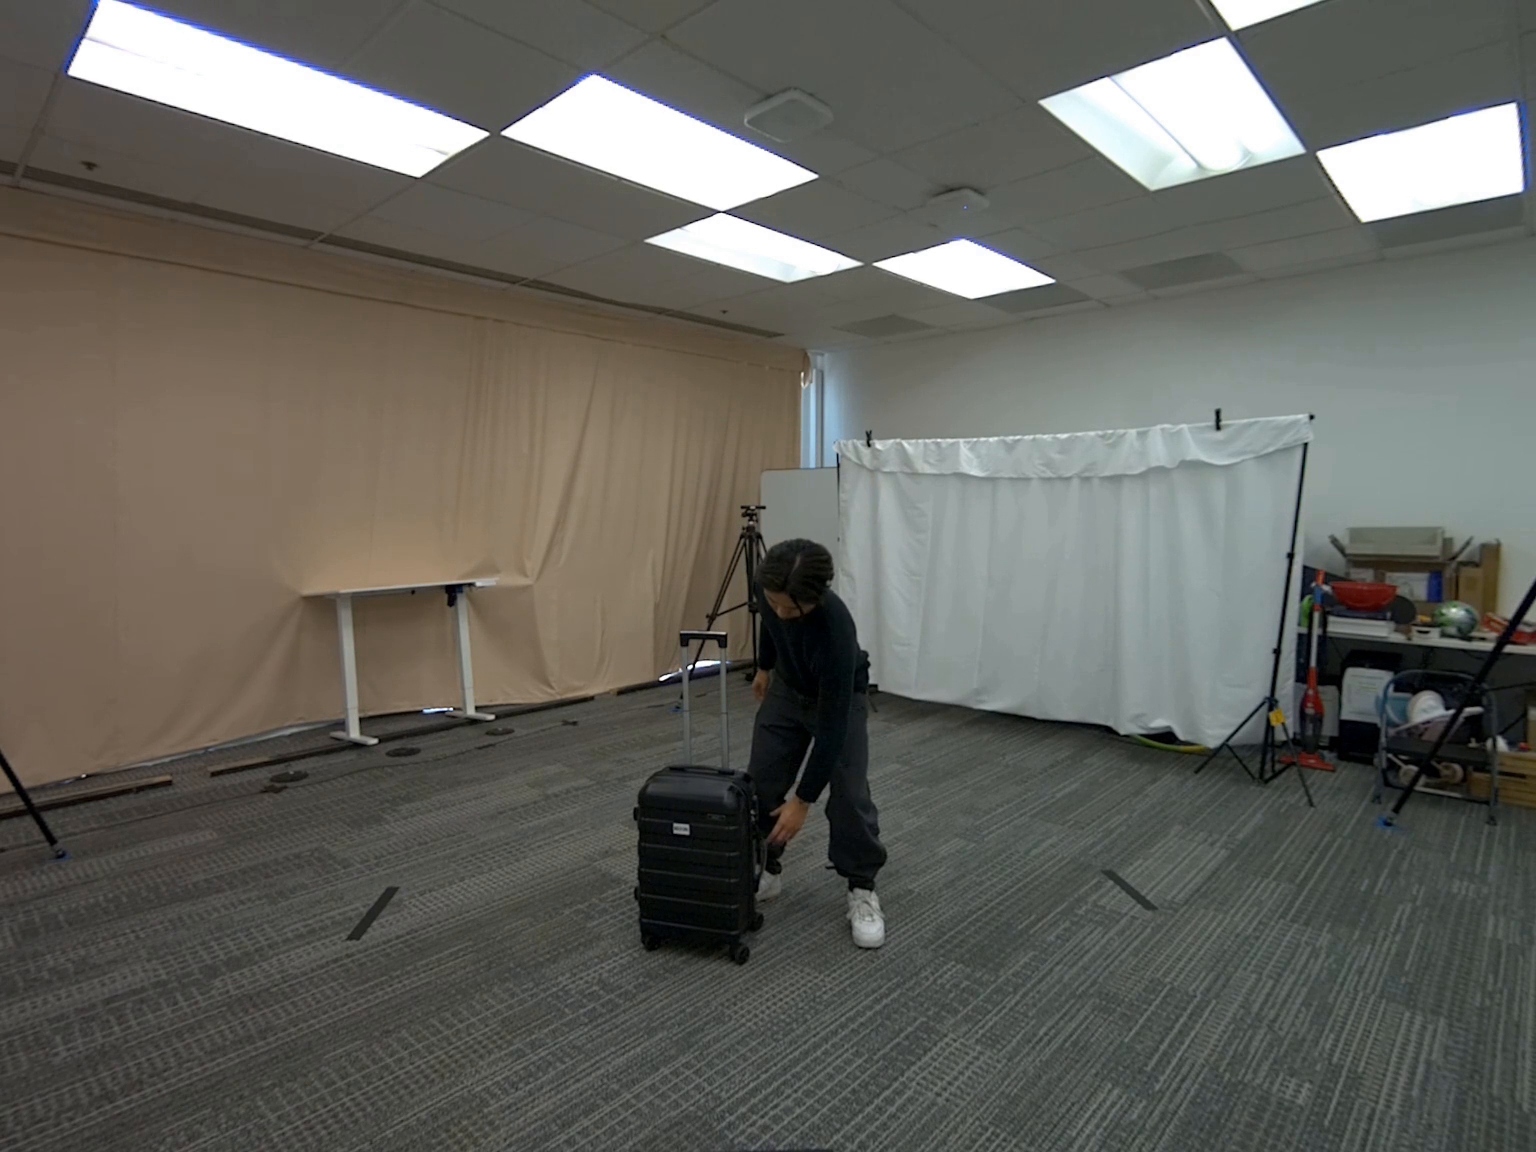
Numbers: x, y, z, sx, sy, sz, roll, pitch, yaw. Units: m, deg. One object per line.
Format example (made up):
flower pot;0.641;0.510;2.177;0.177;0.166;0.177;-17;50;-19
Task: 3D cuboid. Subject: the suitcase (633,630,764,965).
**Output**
suitcase;-0.228;0.699;2.661;0.390;0.975;0.254;0;5;13
